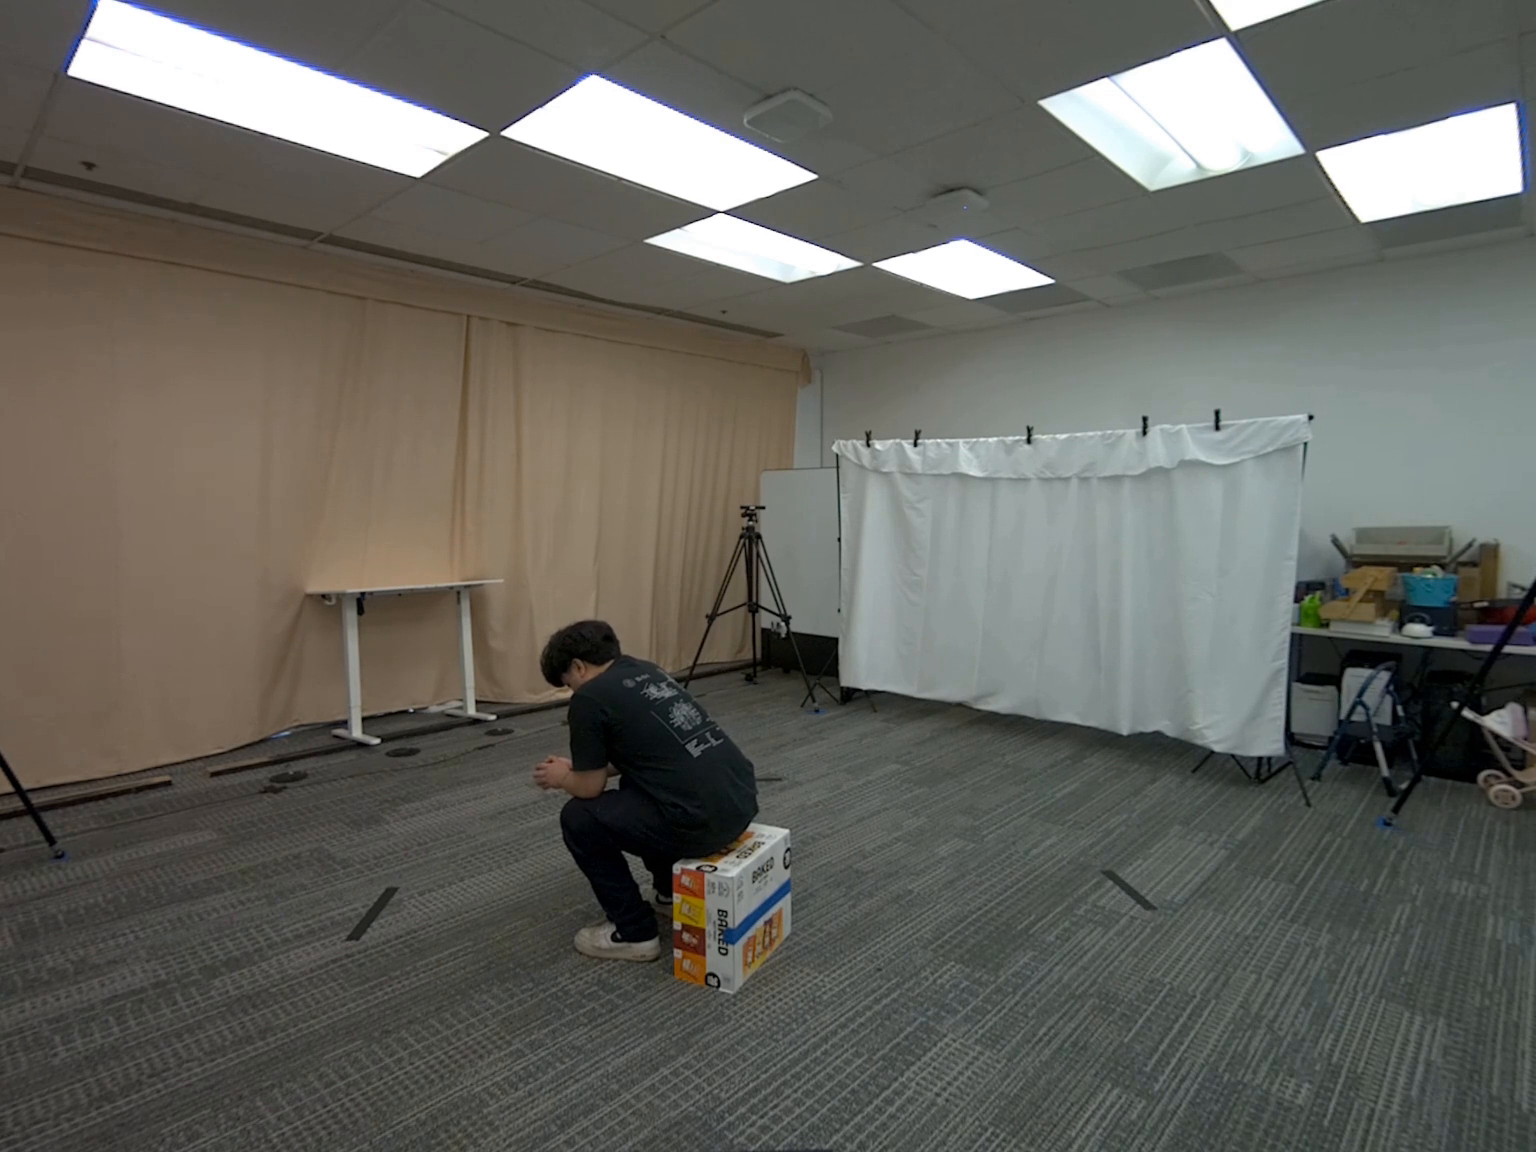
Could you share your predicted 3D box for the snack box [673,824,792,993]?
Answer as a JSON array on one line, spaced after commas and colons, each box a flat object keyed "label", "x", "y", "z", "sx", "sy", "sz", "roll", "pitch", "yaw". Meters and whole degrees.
[{"label": "snack box", "x": -0.098, "y": 1.009, "z": 2.613, "sx": 0.211, "sy": 0.339, "sz": 0.395, "roll": 2, "pitch": 4, "yaw": 27}]
